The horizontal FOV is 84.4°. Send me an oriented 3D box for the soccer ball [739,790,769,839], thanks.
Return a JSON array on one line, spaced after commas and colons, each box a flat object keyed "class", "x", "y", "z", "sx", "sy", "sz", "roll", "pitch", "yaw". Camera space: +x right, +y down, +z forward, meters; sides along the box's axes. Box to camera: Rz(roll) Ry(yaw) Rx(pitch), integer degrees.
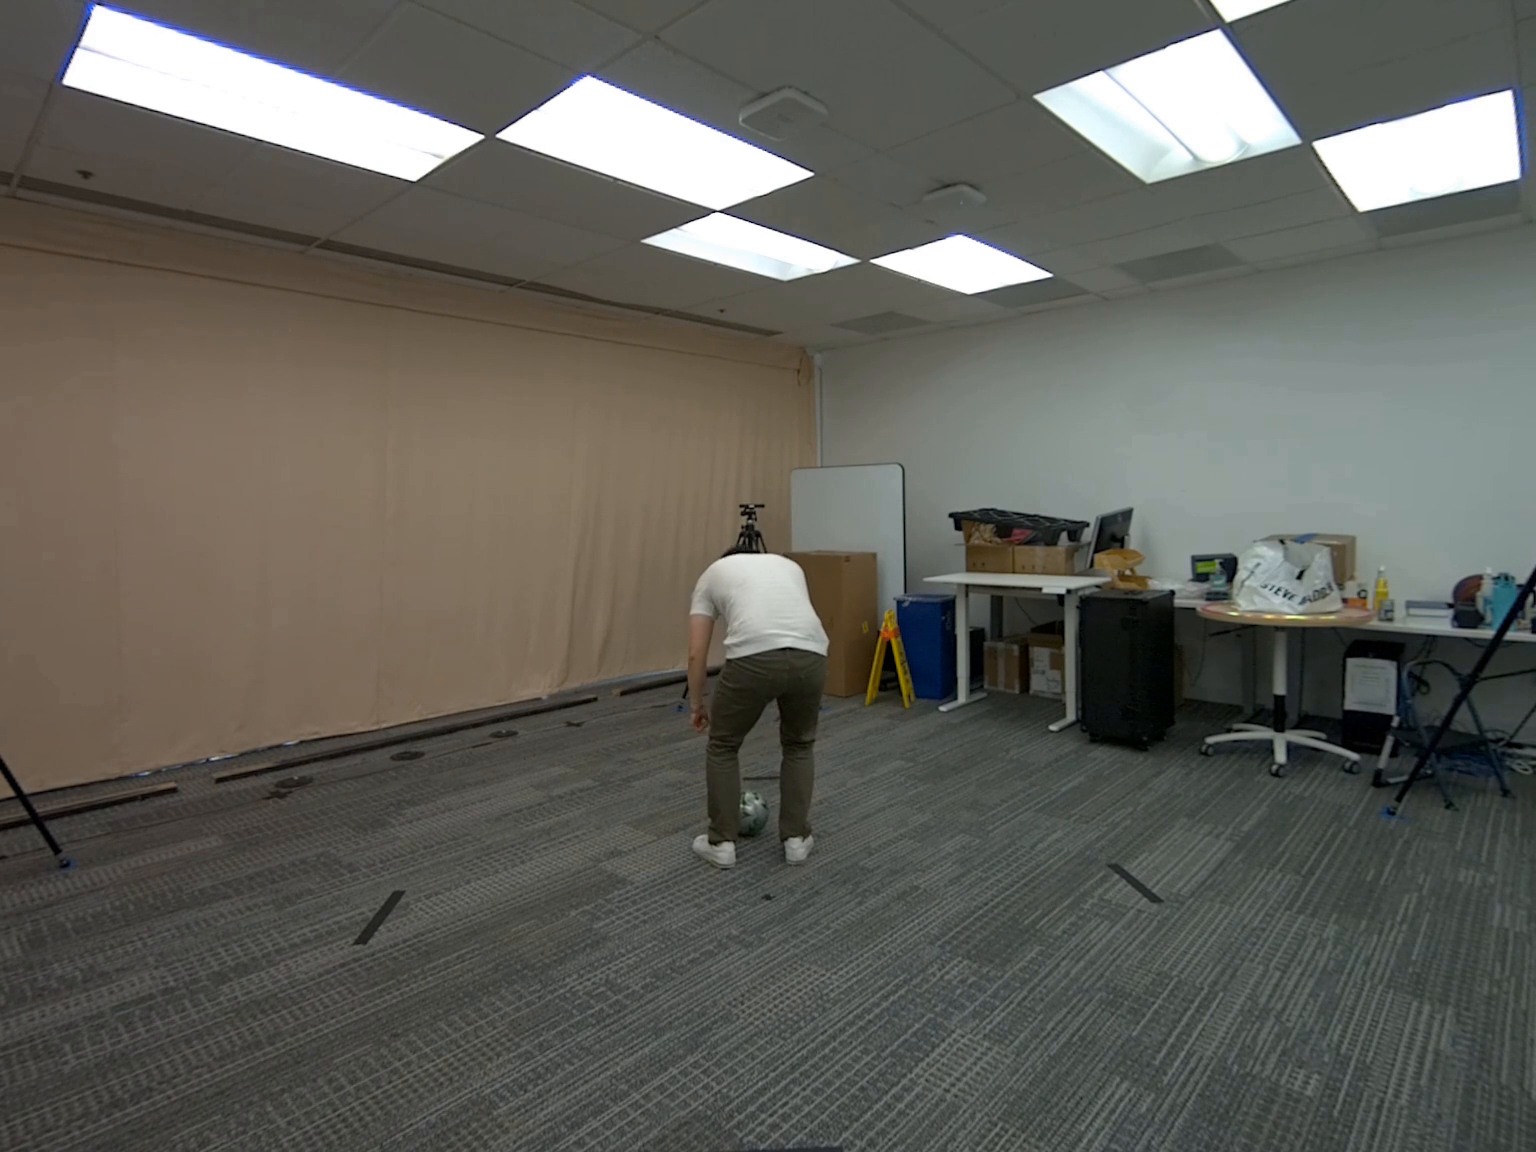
[{"class": "soccer ball", "x": -0.085, "y": 1.000, "z": 3.562, "sx": 0.187, "sy": 0.187, "sz": 0.188, "roll": -1, "pitch": 4, "yaw": -2}]
